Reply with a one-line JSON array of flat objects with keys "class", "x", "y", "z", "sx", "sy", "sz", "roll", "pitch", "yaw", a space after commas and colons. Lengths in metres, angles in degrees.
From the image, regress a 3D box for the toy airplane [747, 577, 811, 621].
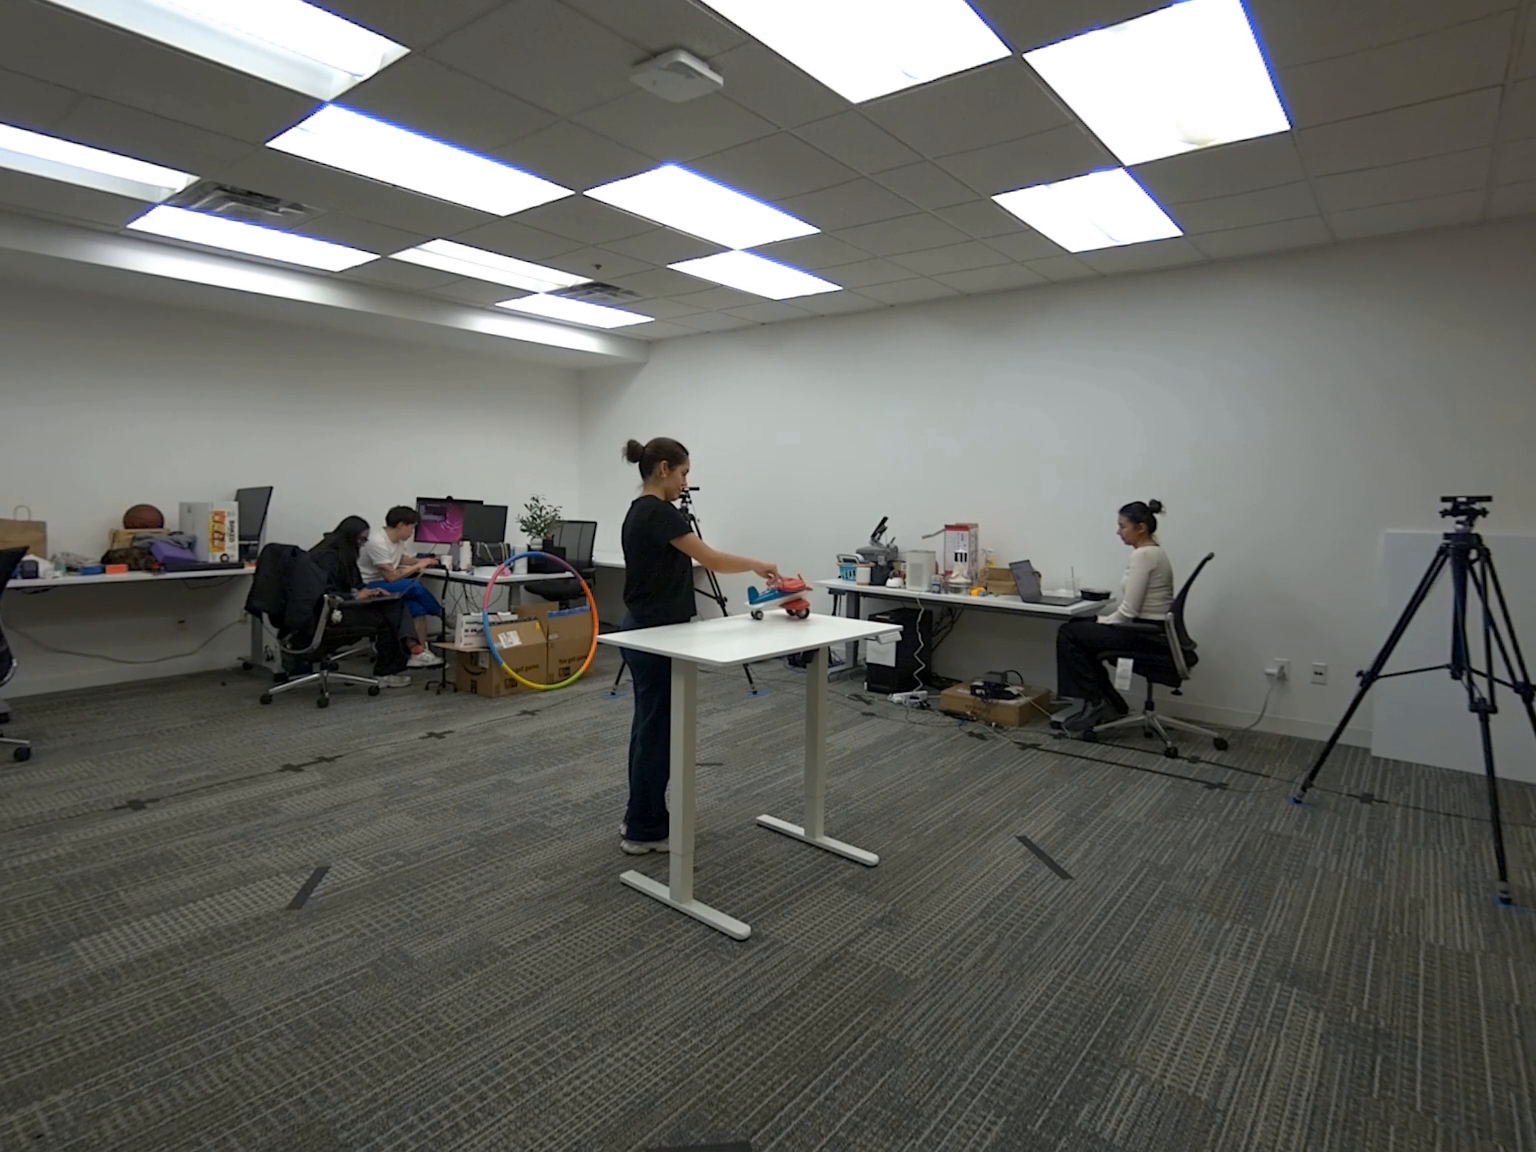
[{"class": "toy airplane", "x": 0.064, "y": 0.091, "z": 3.354, "sx": 0.260, "sy": 0.156, "sz": 0.251, "roll": 5, "pitch": 7, "yaw": 41}]
